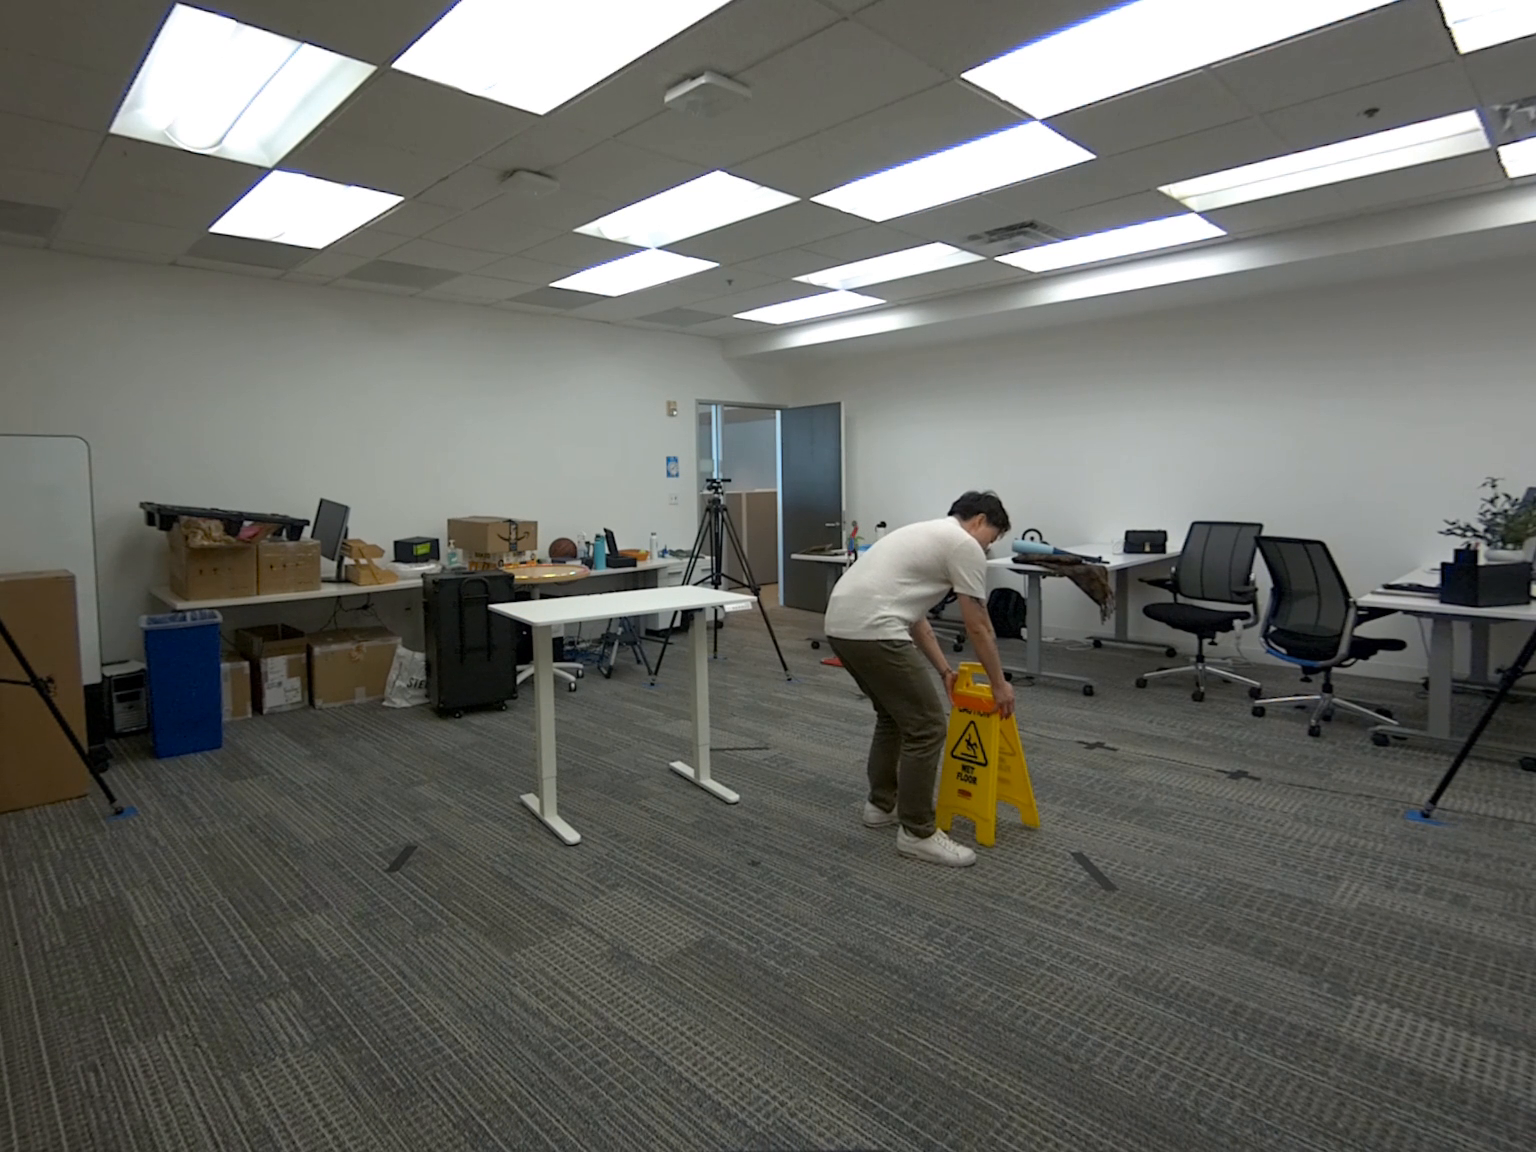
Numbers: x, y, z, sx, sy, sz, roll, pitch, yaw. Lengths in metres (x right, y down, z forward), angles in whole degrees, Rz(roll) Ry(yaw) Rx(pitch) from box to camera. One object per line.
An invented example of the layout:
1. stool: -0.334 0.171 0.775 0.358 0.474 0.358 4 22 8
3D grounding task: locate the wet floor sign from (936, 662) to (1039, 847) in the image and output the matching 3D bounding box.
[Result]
1. wet floor sign: 0.850 0.671 3.370 0.282 0.645 0.290 -3 2 -36
